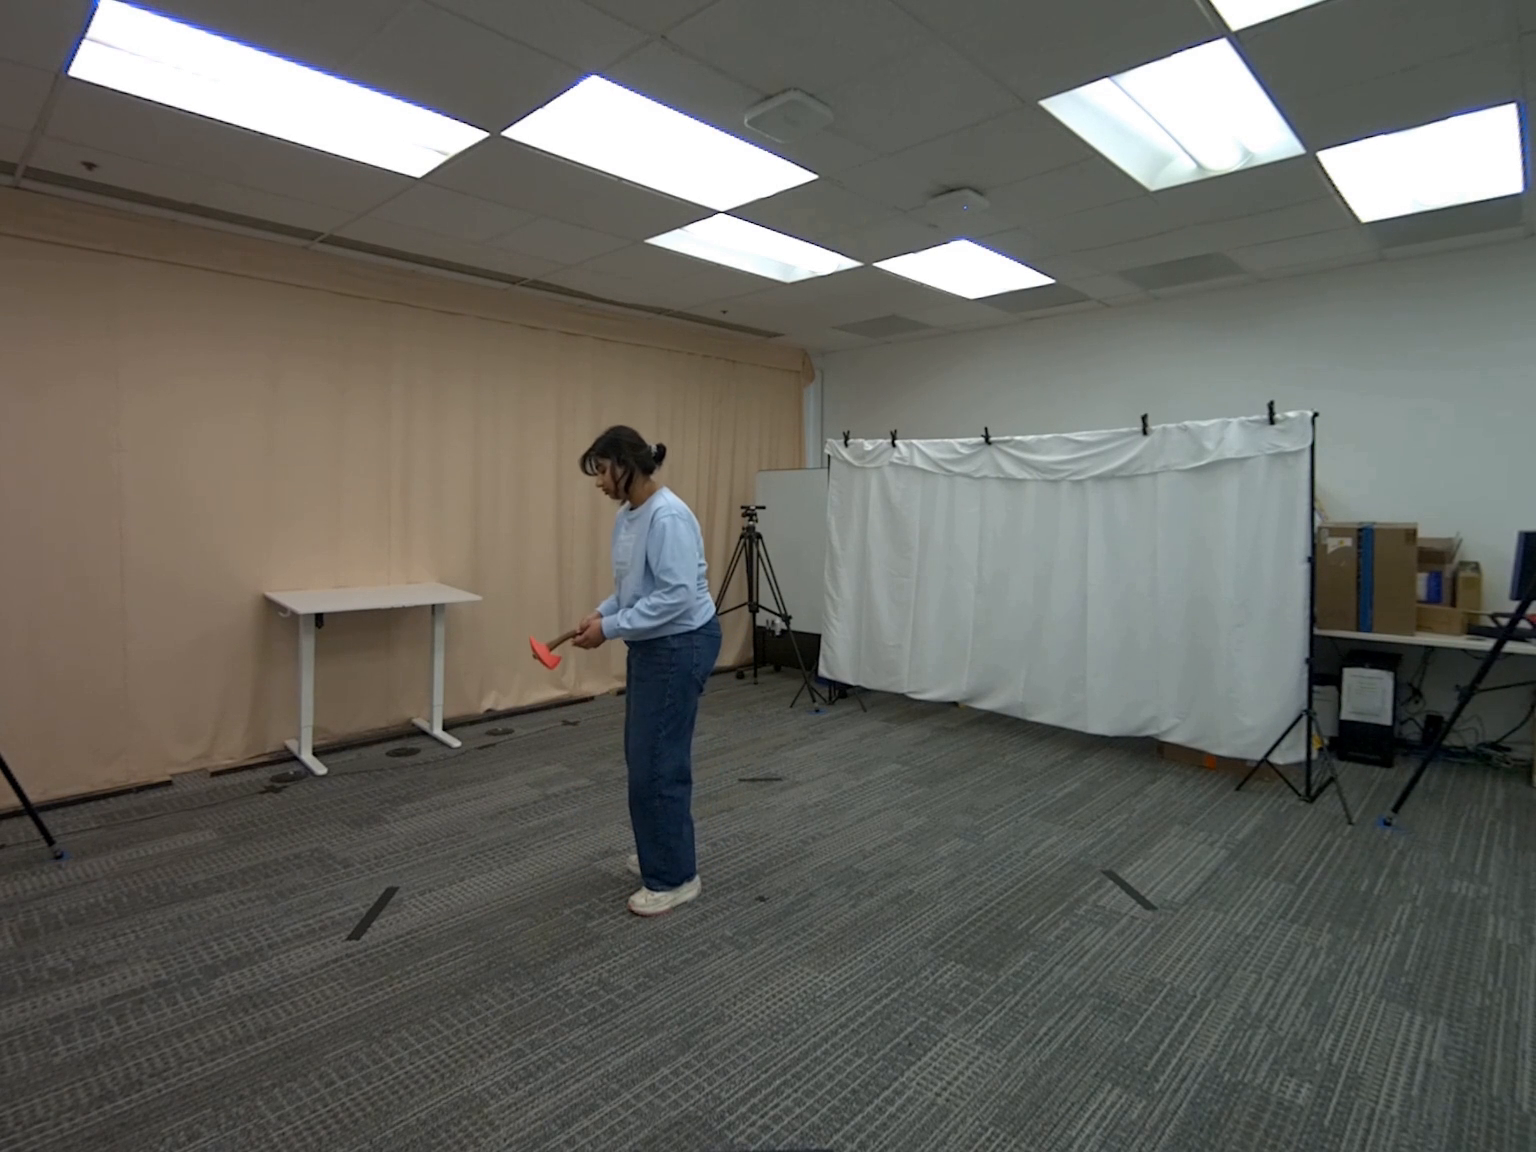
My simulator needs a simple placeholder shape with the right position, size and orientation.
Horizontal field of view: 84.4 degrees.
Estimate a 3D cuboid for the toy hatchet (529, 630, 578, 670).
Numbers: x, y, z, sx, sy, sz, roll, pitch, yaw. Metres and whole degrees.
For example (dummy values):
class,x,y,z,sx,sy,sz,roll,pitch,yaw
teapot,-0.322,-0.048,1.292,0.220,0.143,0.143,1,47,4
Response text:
class,x,y,z,sx,sy,sz,roll,pitch,yaw
toy hatchet,-0.682,0.256,2.902,0.262,0.134,0.030,-6,-27,-36
